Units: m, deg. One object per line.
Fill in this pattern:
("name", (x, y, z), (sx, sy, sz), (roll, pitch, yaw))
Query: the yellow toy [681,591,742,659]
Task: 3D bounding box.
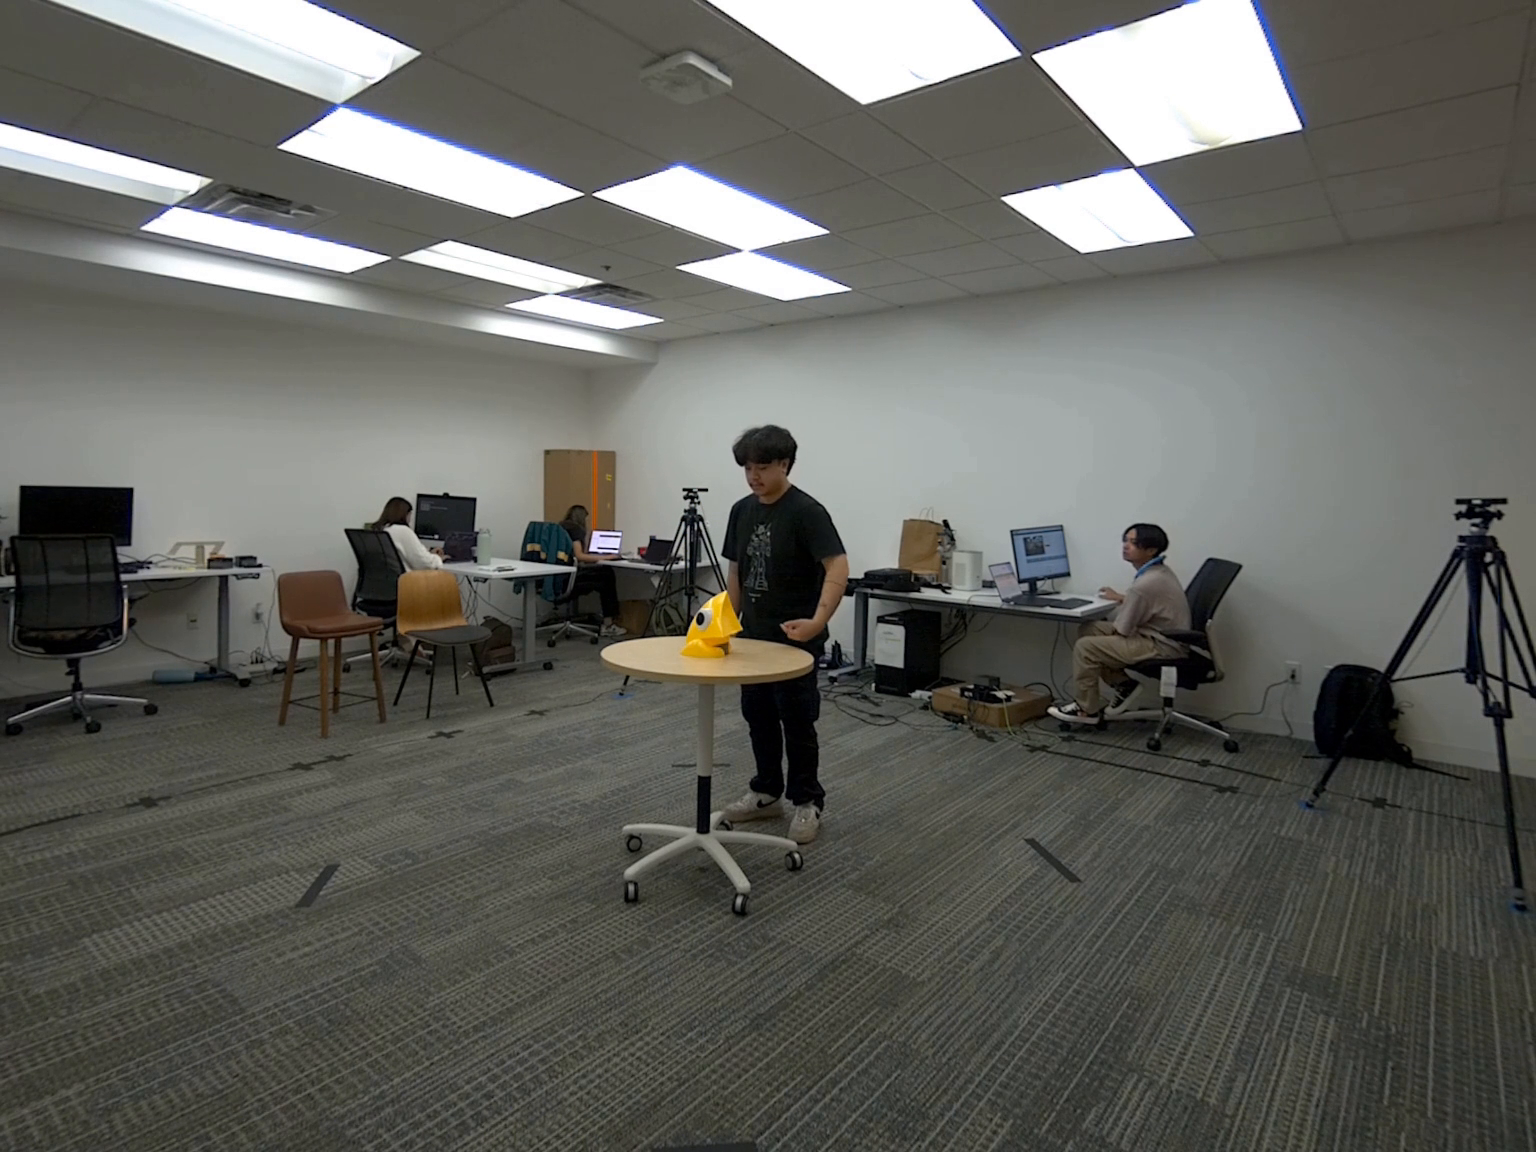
("yellow toy", (-0.222, 0.165, 3.093), (0.197, 0.230, 0.201), (2, 4, 20))
